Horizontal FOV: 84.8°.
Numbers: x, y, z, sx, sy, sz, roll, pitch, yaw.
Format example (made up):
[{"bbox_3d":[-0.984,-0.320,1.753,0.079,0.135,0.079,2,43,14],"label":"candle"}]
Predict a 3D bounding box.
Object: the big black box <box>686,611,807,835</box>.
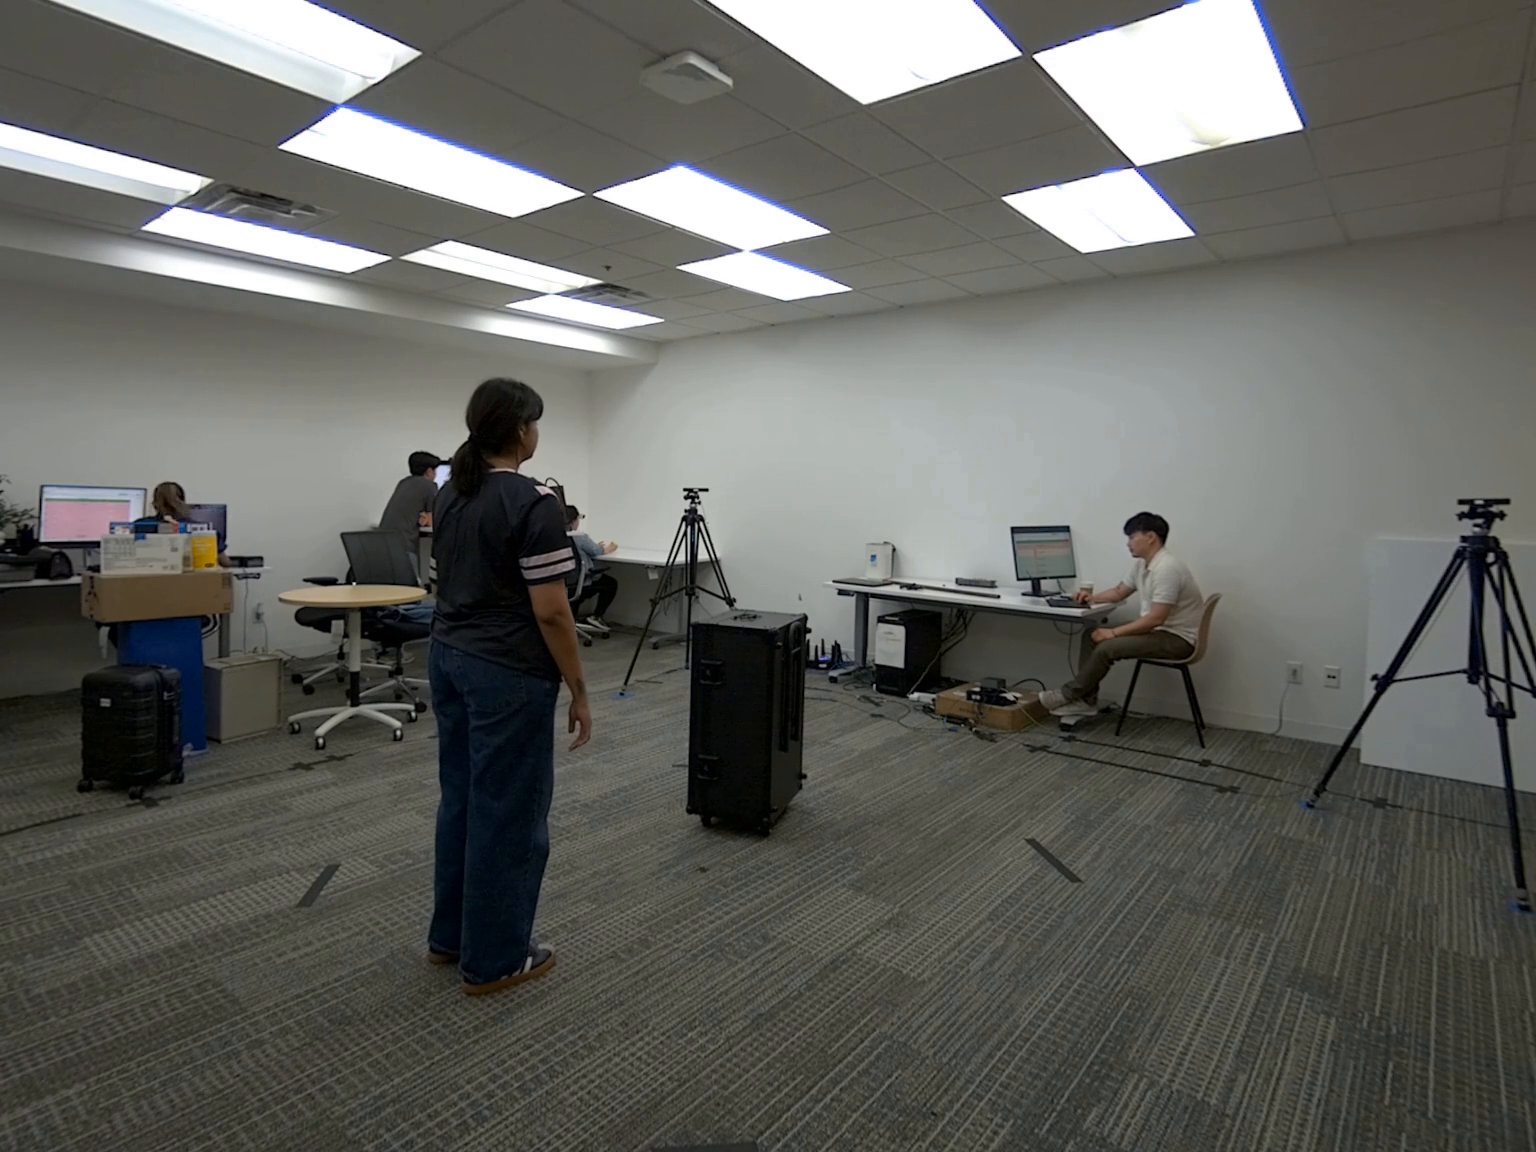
[{"bbox_3d":[-0.084,0.600,3.606,0.393,0.866,0.514,3,4,18],"label":"big black box"}]
